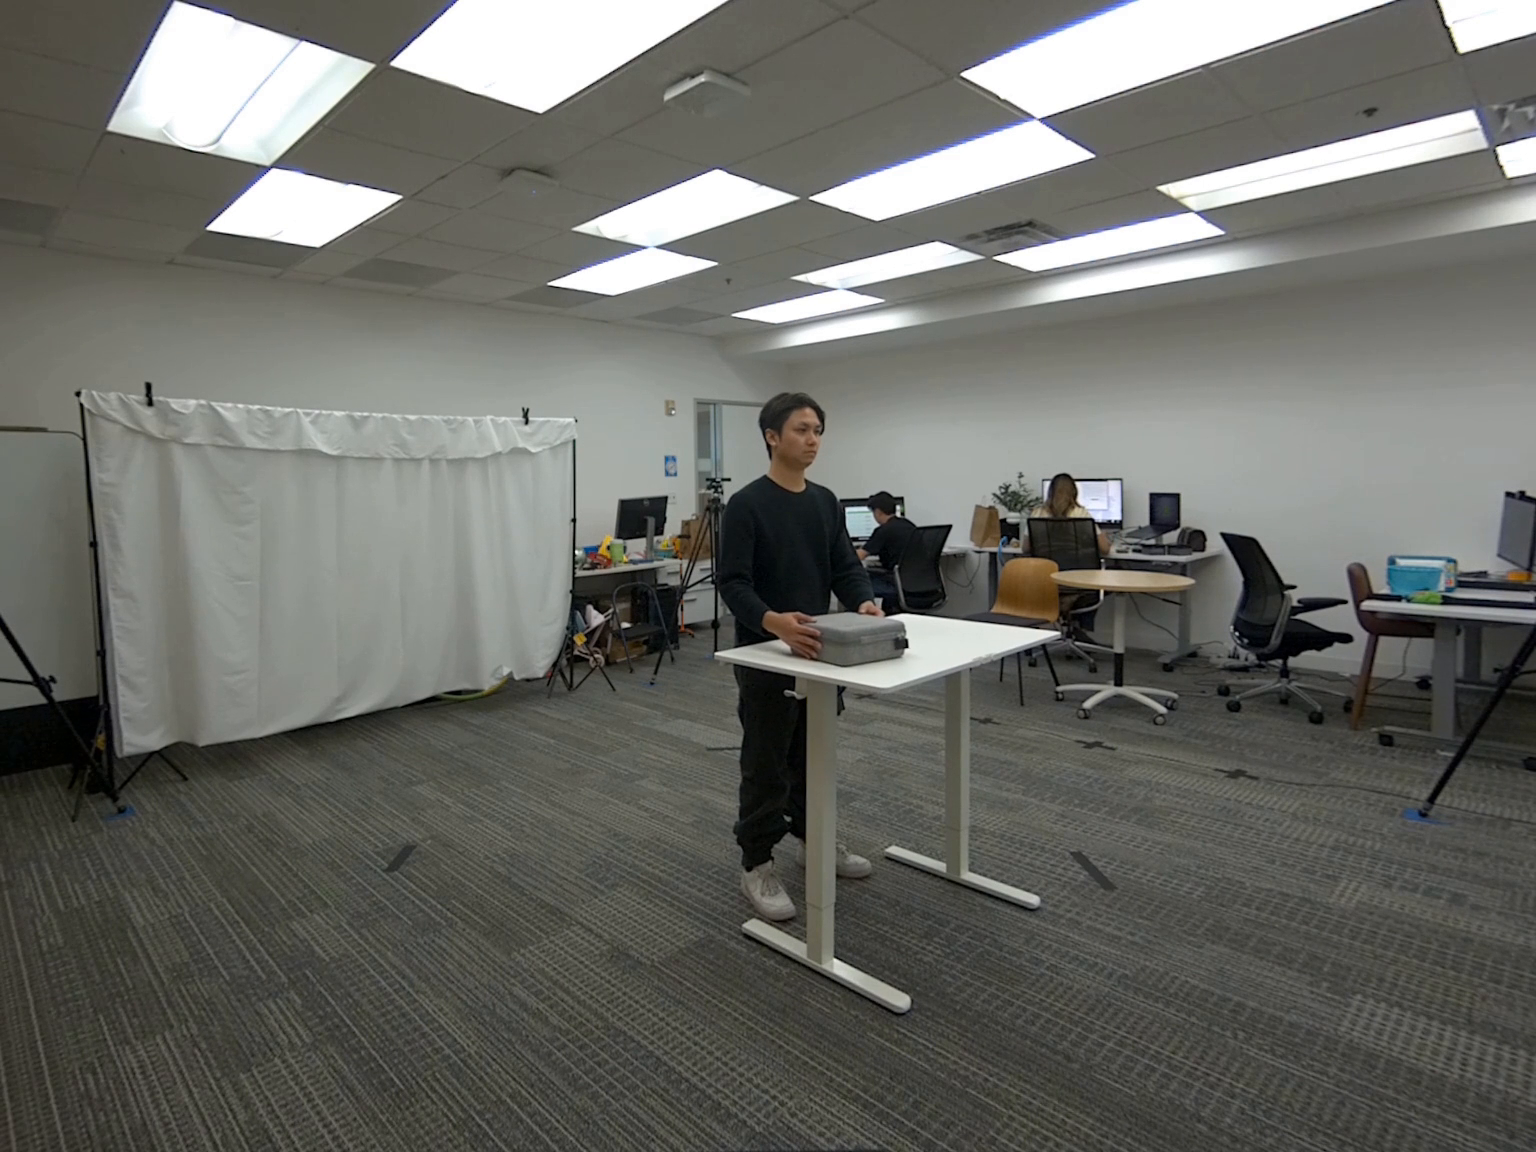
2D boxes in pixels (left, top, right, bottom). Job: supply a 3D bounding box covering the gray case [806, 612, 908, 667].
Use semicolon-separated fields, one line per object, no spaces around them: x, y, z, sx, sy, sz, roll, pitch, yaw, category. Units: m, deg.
0.230;0.178;2.451;0.250;0.104;0.269;-7;9;-38;gray case
